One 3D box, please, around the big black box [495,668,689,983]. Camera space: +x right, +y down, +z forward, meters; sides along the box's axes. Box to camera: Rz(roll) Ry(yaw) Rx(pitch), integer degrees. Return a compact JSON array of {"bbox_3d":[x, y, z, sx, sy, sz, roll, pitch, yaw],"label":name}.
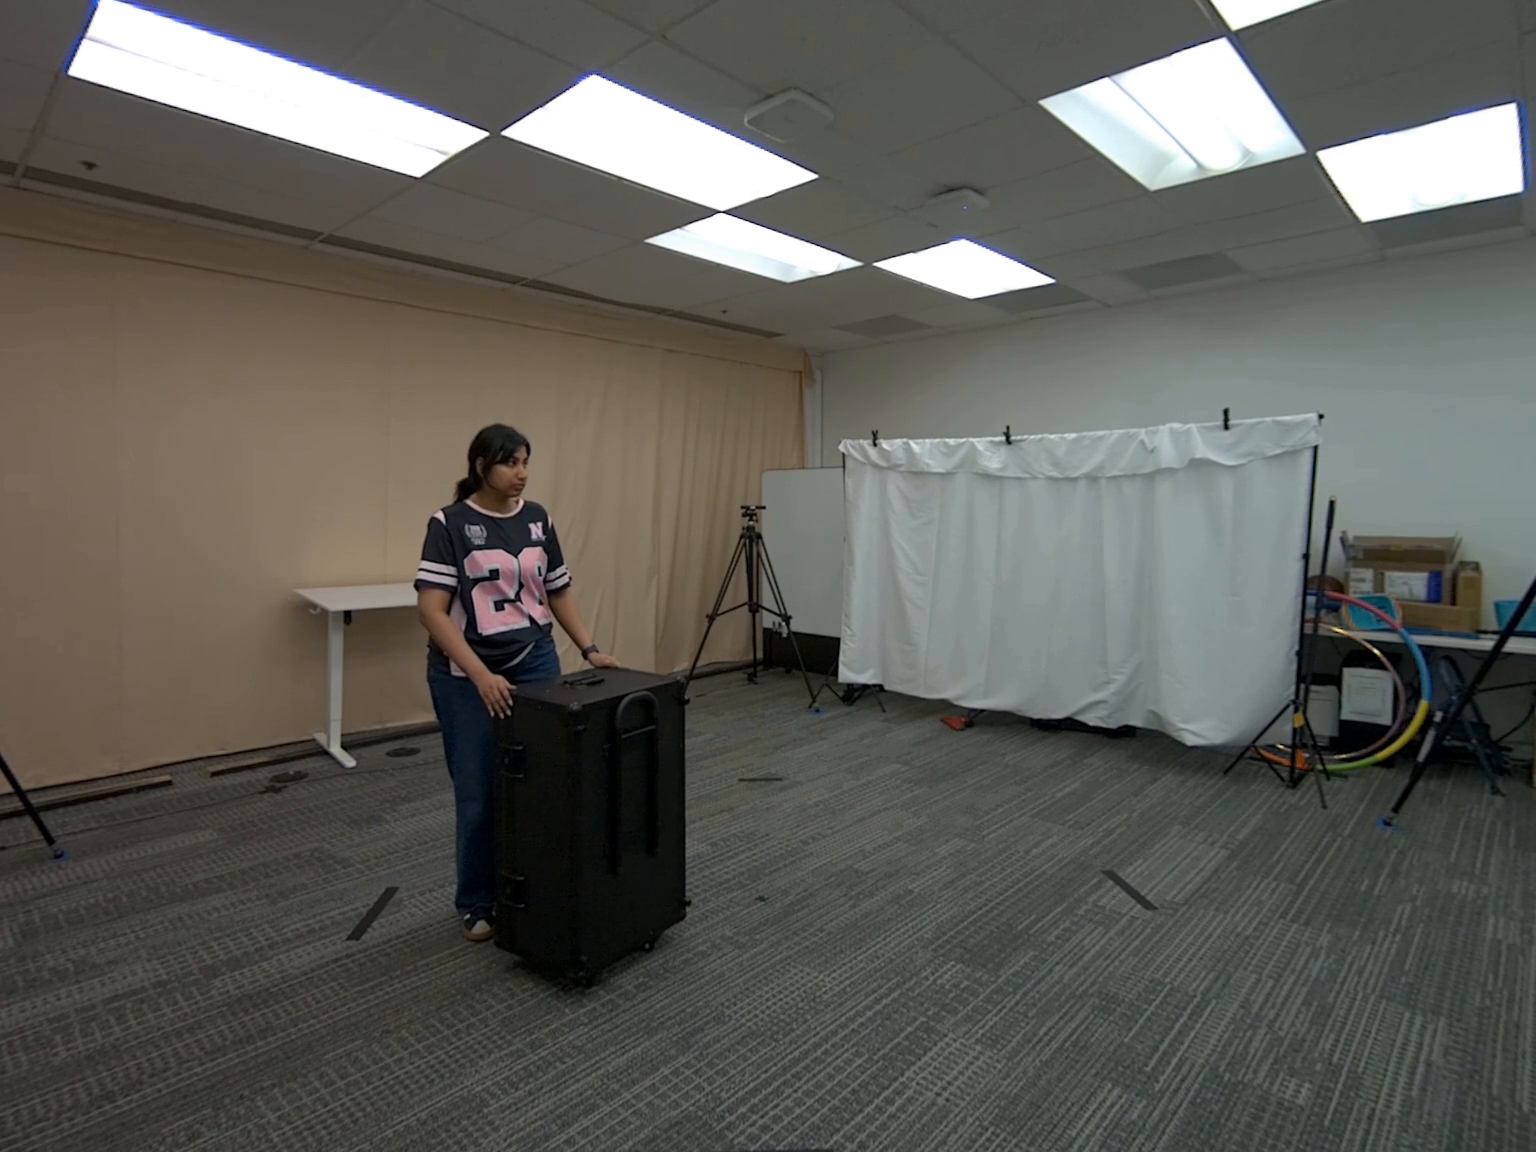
[{"bbox_3d":[-0.529,0.760,2.603,0.397,0.866,0.508,3,4,35],"label":"big black box"}]
